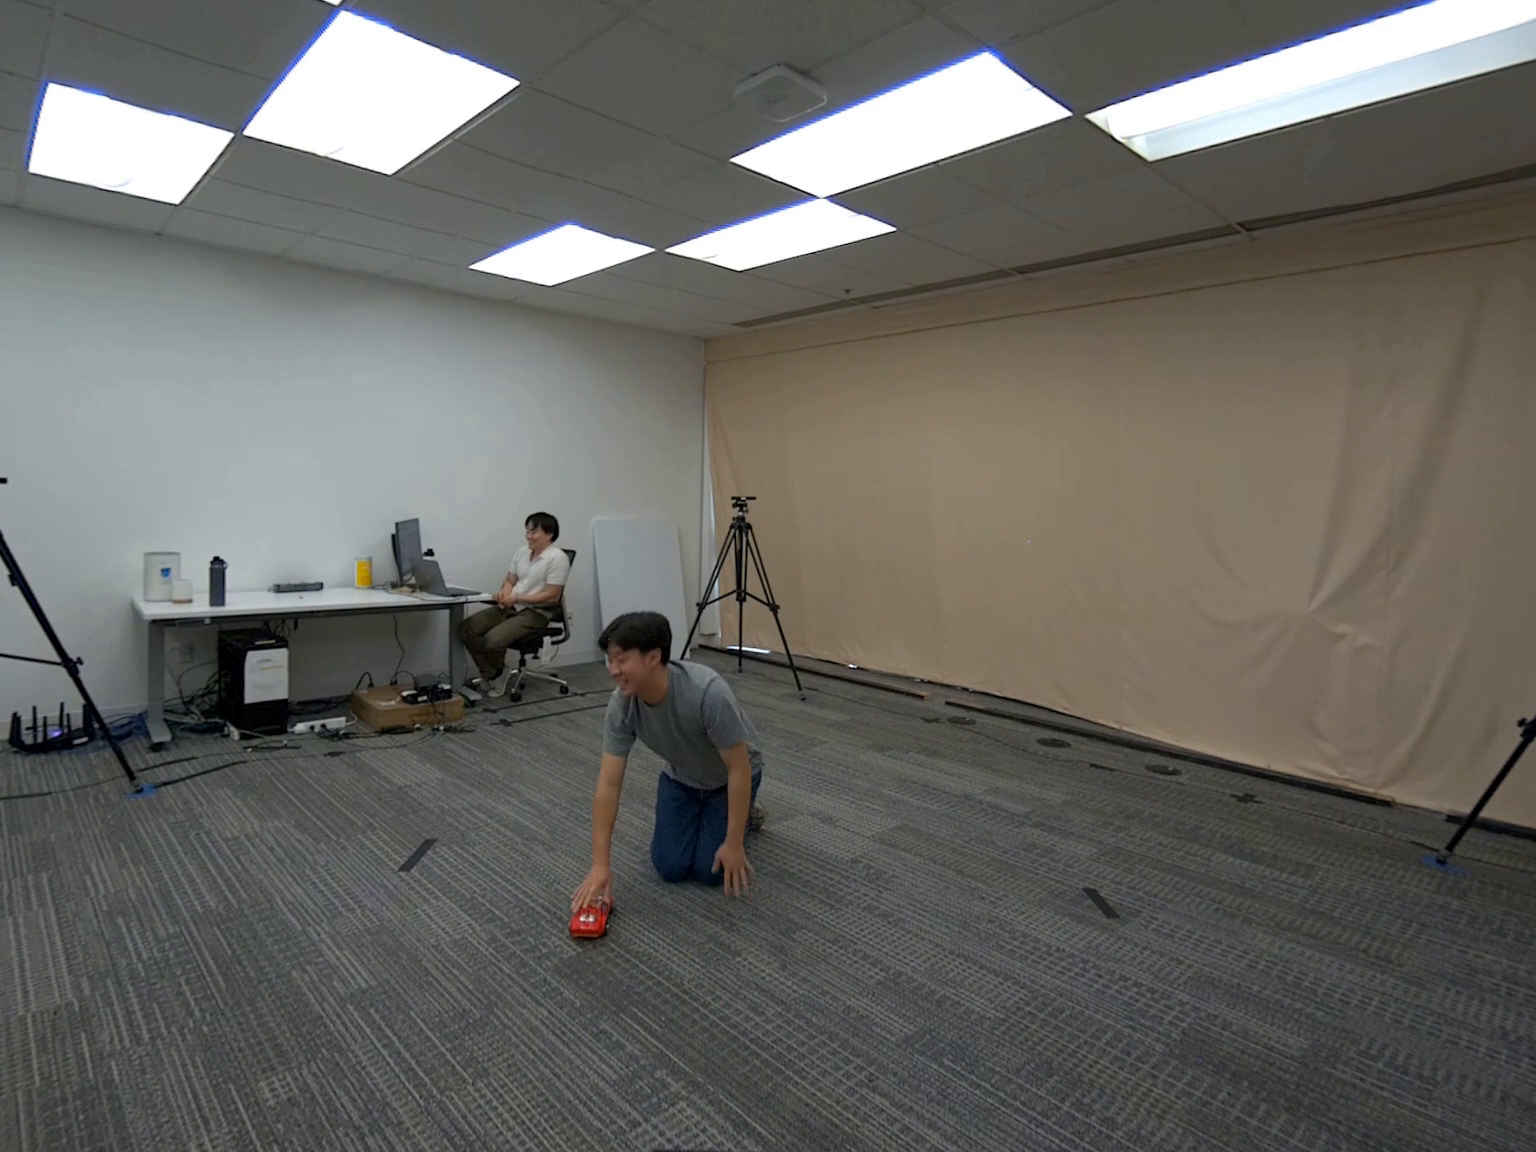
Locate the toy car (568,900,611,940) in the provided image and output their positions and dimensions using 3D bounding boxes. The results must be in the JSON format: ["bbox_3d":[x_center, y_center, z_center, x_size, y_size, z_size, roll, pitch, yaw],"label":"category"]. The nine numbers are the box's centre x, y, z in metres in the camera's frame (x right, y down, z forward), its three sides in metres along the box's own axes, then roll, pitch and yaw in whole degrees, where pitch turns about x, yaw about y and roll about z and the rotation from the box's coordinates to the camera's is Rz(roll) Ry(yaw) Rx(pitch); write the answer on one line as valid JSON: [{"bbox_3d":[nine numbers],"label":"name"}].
[{"bbox_3d":[-0.585,1.104,2.707,0.130,0.083,0.253,2,-6,-2],"label":"toy car"}]
